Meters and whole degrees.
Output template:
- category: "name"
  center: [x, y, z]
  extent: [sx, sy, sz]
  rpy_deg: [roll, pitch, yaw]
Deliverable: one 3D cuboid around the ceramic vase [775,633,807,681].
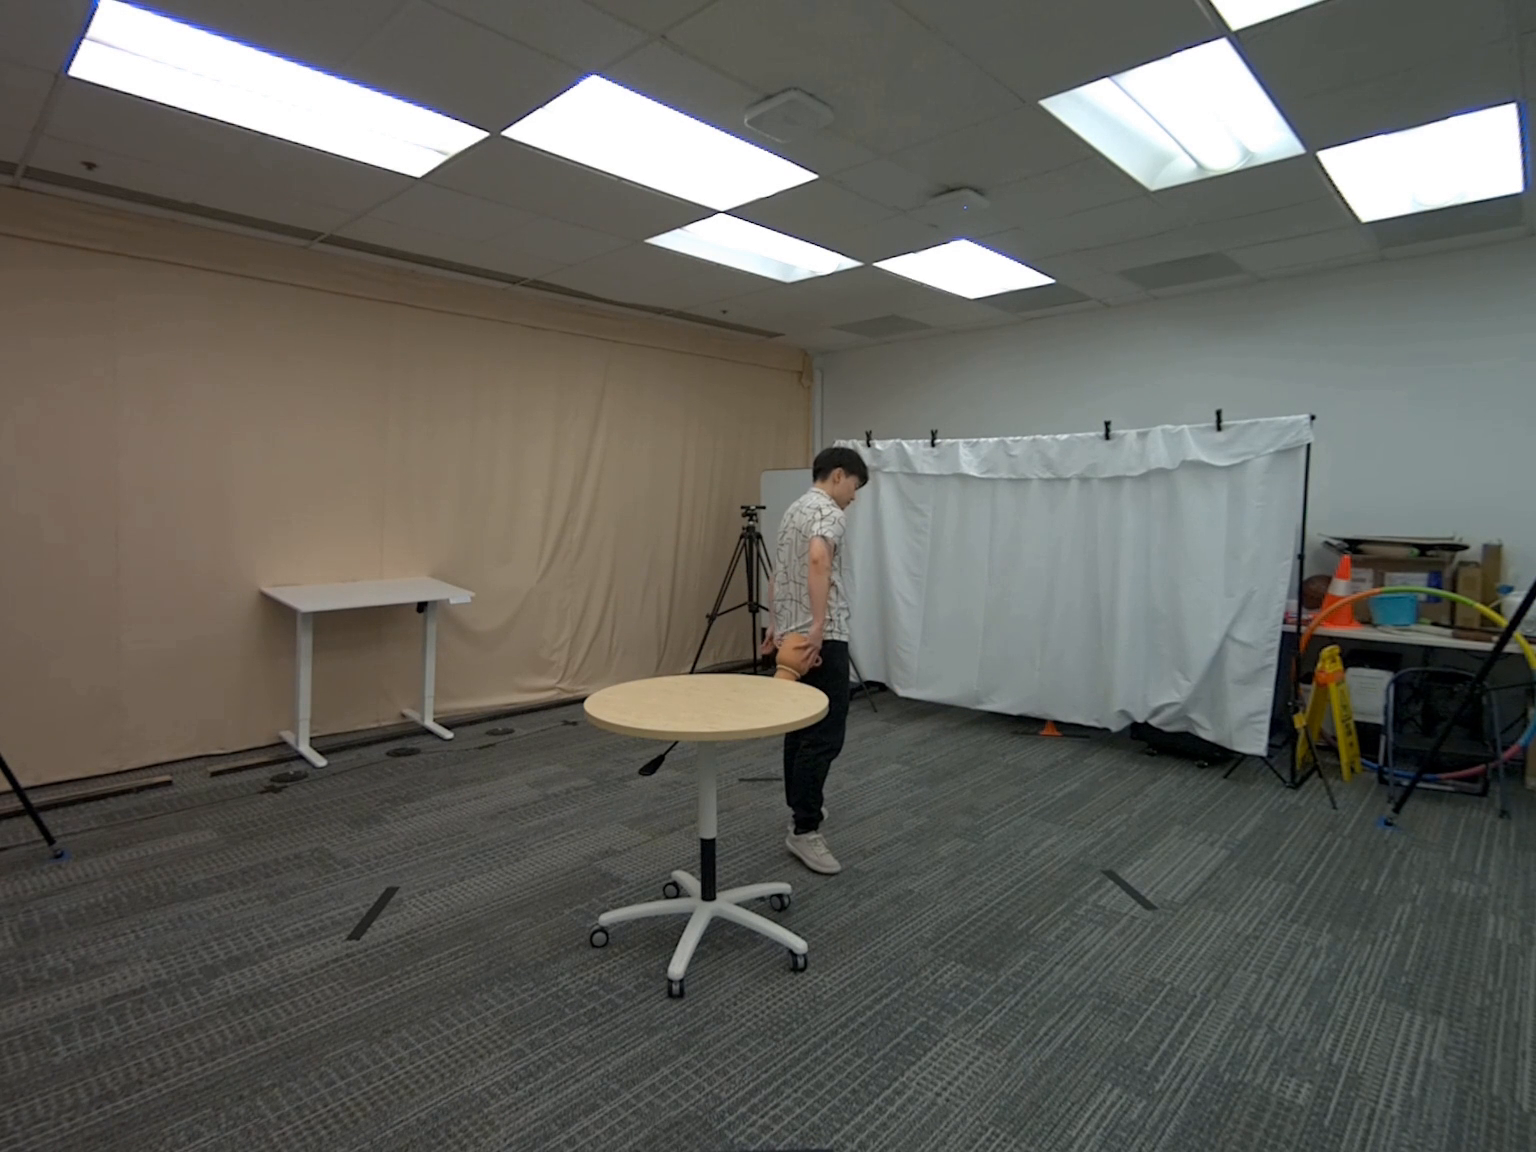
- category: "ceramic vase"
  center: [0.093, 0.336, 3.214]
  extent: [0.164, 0.220, 0.130]
  rpy_deg: [11, -25, 40]
